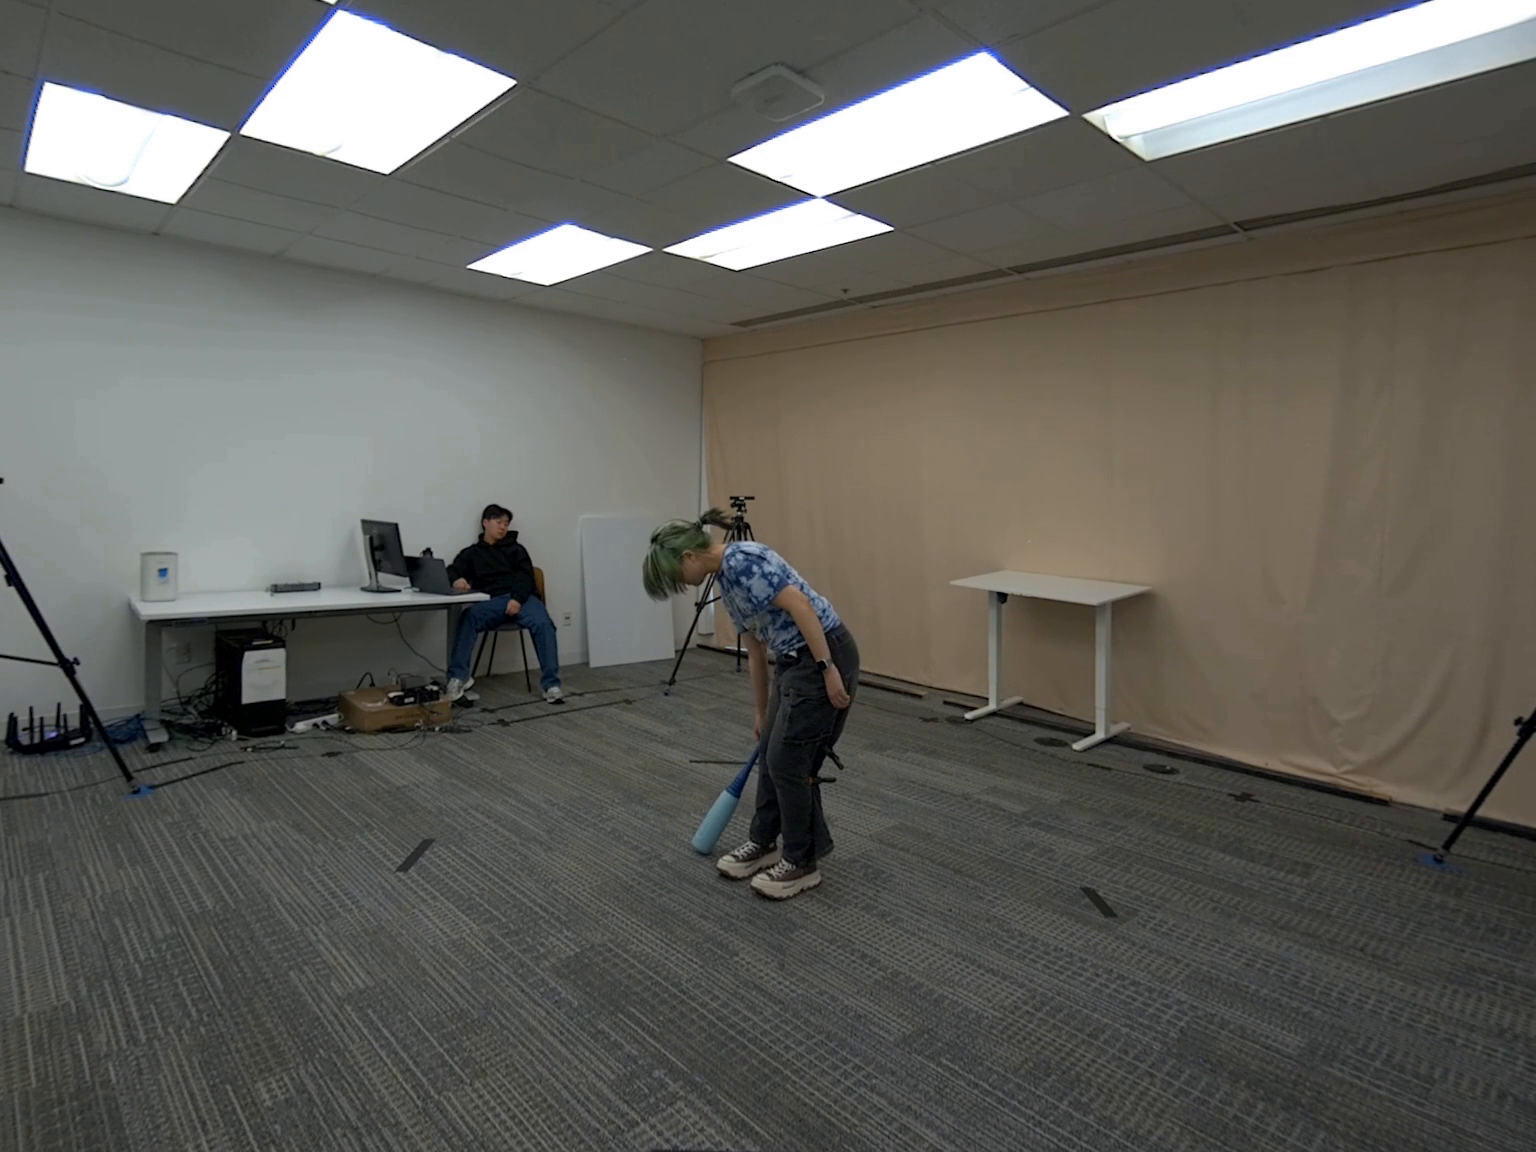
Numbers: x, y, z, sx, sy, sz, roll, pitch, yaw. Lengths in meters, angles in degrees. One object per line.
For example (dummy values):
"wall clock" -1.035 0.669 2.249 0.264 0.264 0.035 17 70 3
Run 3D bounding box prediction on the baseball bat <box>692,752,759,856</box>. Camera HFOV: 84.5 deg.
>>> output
"baseball bat" -0.130 0.839 3.294 0.089 0.543 0.089 32 -1 -1
